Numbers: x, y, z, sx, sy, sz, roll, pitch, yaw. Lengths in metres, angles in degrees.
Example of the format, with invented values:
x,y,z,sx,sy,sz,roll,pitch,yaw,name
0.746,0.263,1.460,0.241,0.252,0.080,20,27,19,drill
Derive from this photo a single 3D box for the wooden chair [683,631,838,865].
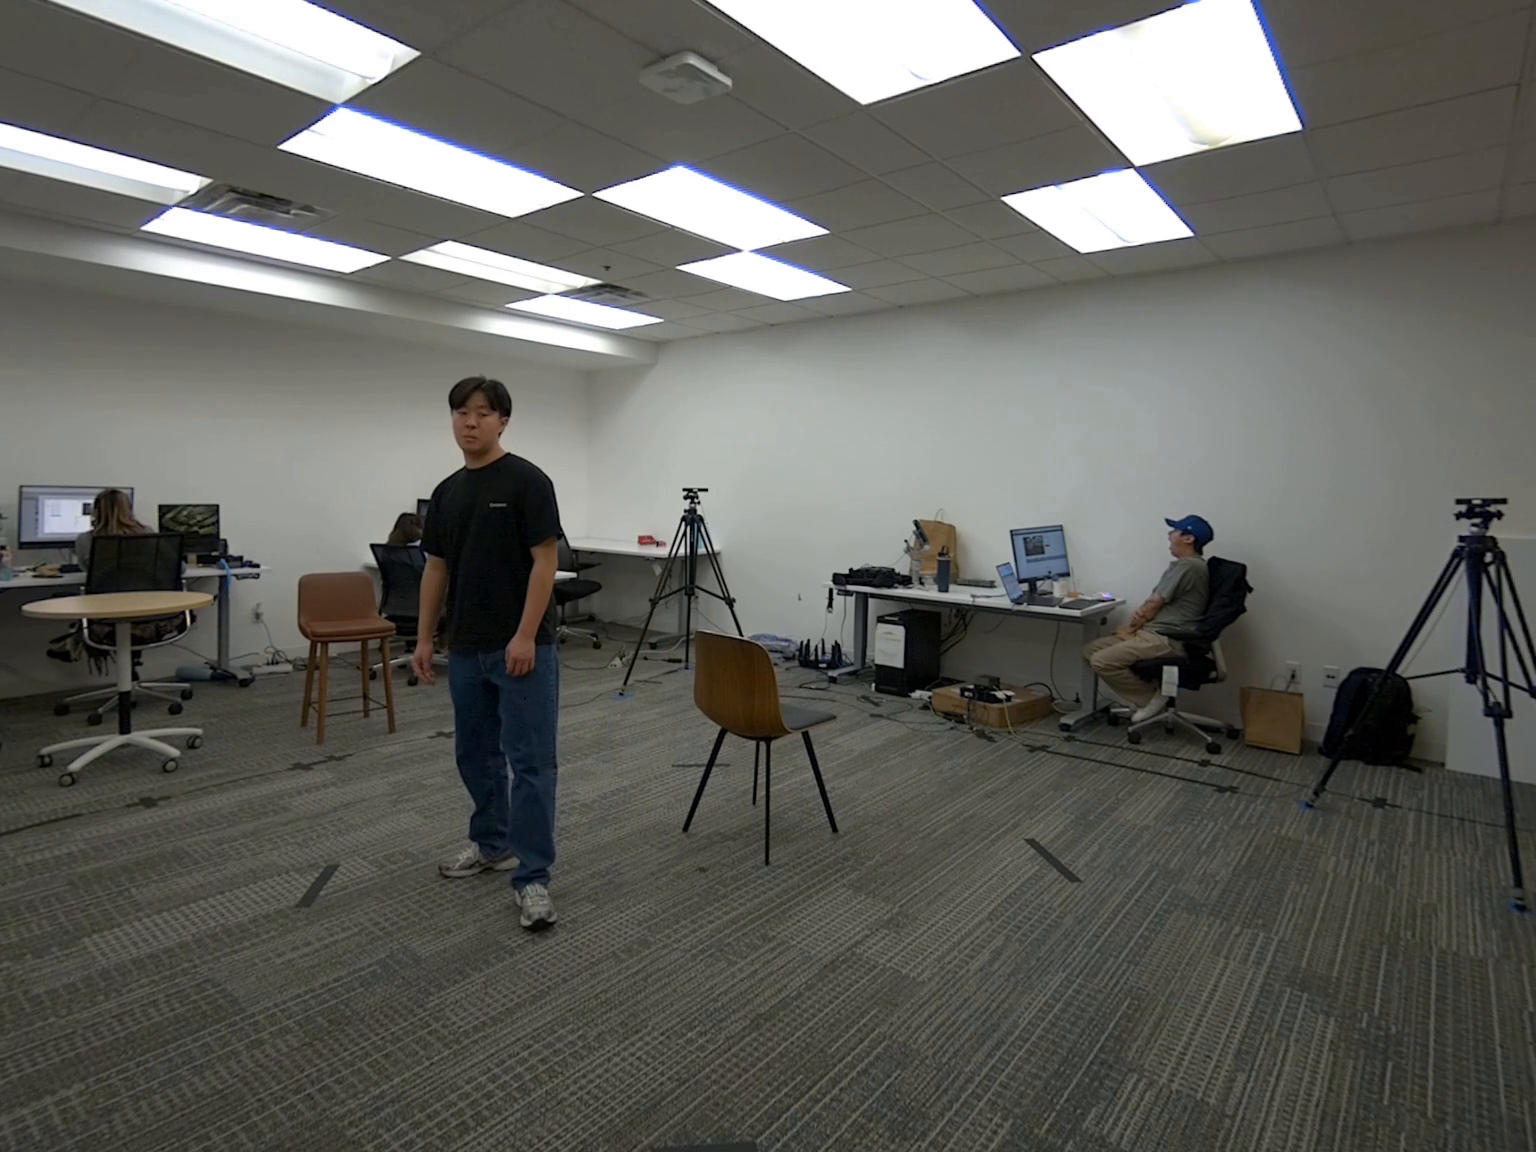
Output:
x,y,z,sx,sy,sz,roll,pitch,yaw,name
-0.028,0.612,3.444,0.494,0.872,0.509,4,8,41,wooden chair
